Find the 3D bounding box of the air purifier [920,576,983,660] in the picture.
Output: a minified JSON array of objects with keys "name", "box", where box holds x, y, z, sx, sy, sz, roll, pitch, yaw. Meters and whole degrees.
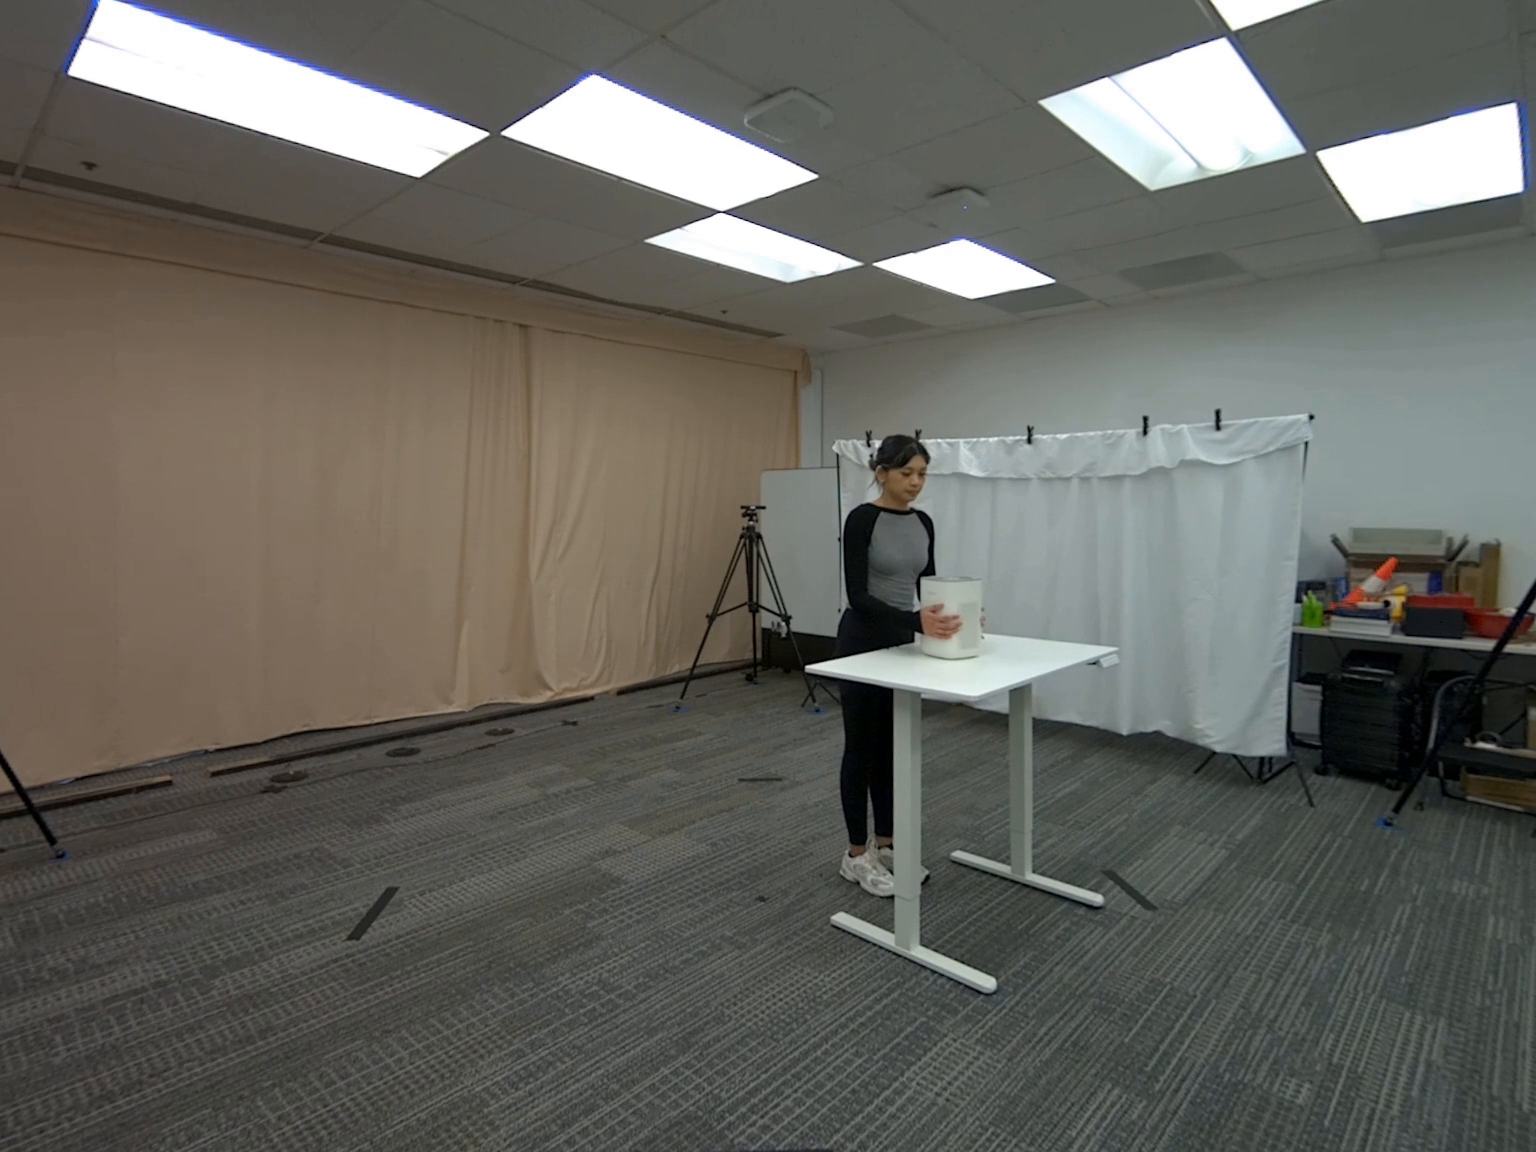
[{"name":"air purifier","box":[0.617,0.140,2.846,0.167,0.264,0.176,-6,5,-33]}]
